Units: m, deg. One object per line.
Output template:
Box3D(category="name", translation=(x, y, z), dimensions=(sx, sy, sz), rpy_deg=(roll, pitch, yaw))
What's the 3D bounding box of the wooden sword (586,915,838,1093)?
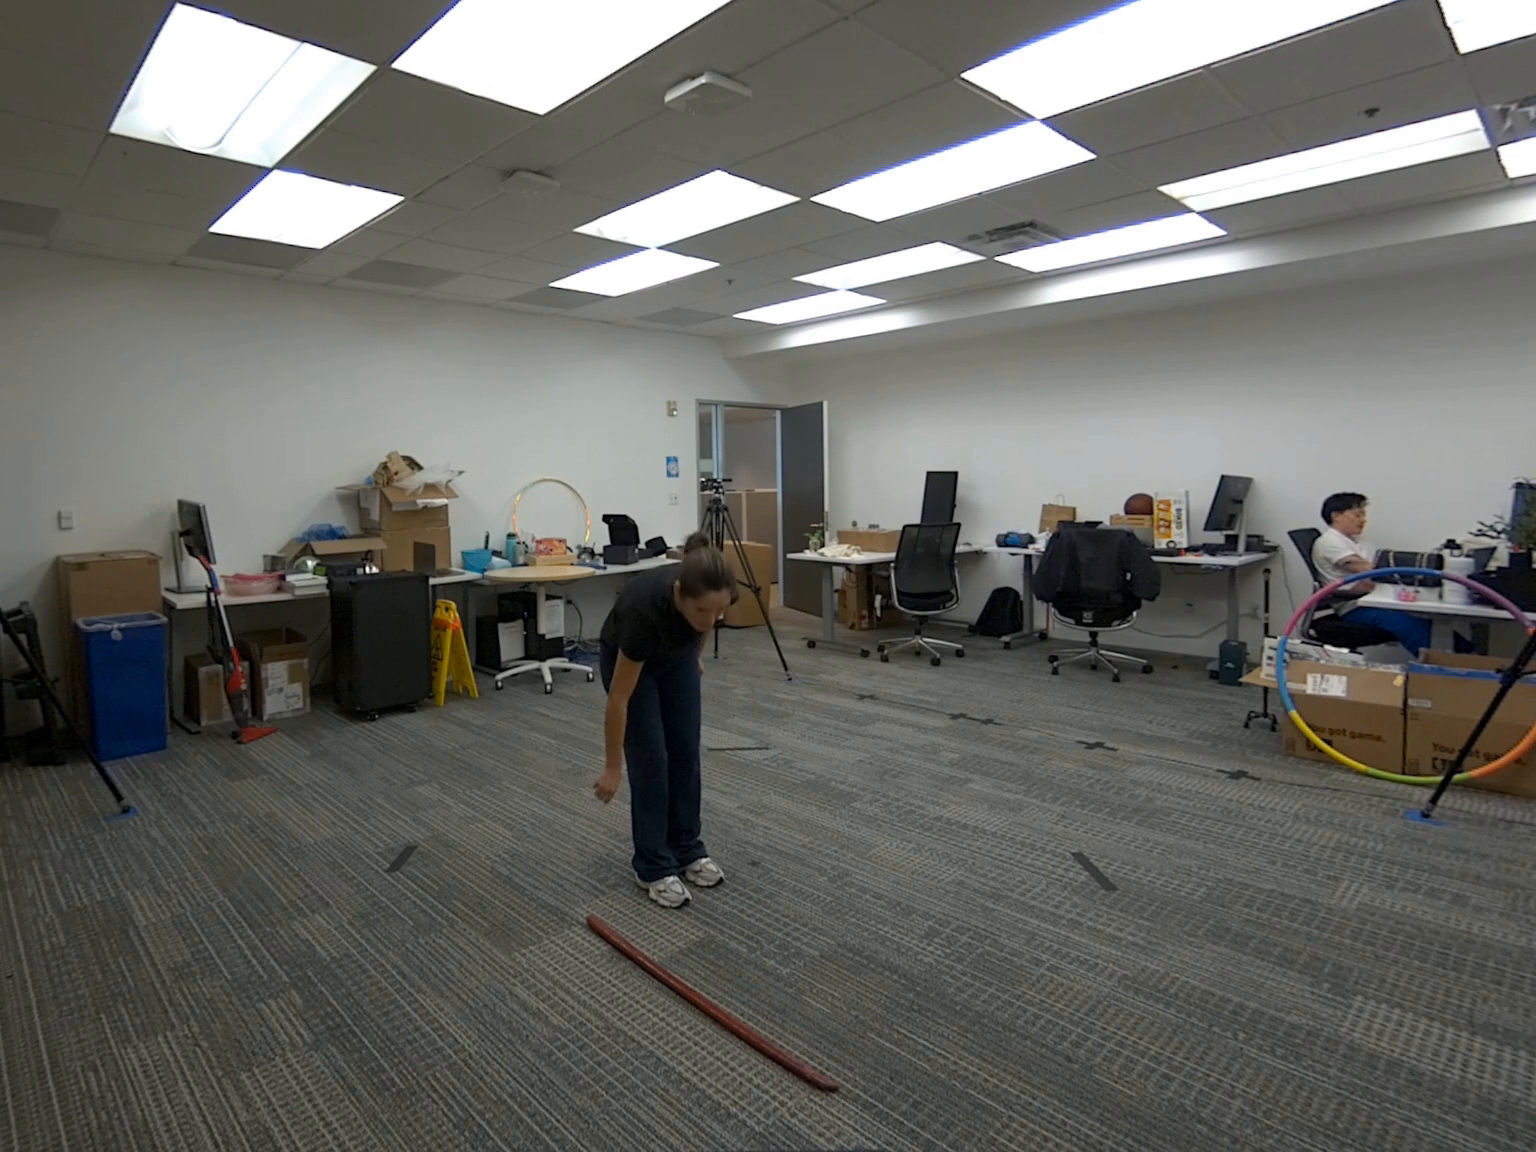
Box3D(category="wooden sword", translation=(-0.201, 1.112, 2.331), dimensions=(0.050, 0.024, 1.057), rpy_deg=(-23, 20, -40))
